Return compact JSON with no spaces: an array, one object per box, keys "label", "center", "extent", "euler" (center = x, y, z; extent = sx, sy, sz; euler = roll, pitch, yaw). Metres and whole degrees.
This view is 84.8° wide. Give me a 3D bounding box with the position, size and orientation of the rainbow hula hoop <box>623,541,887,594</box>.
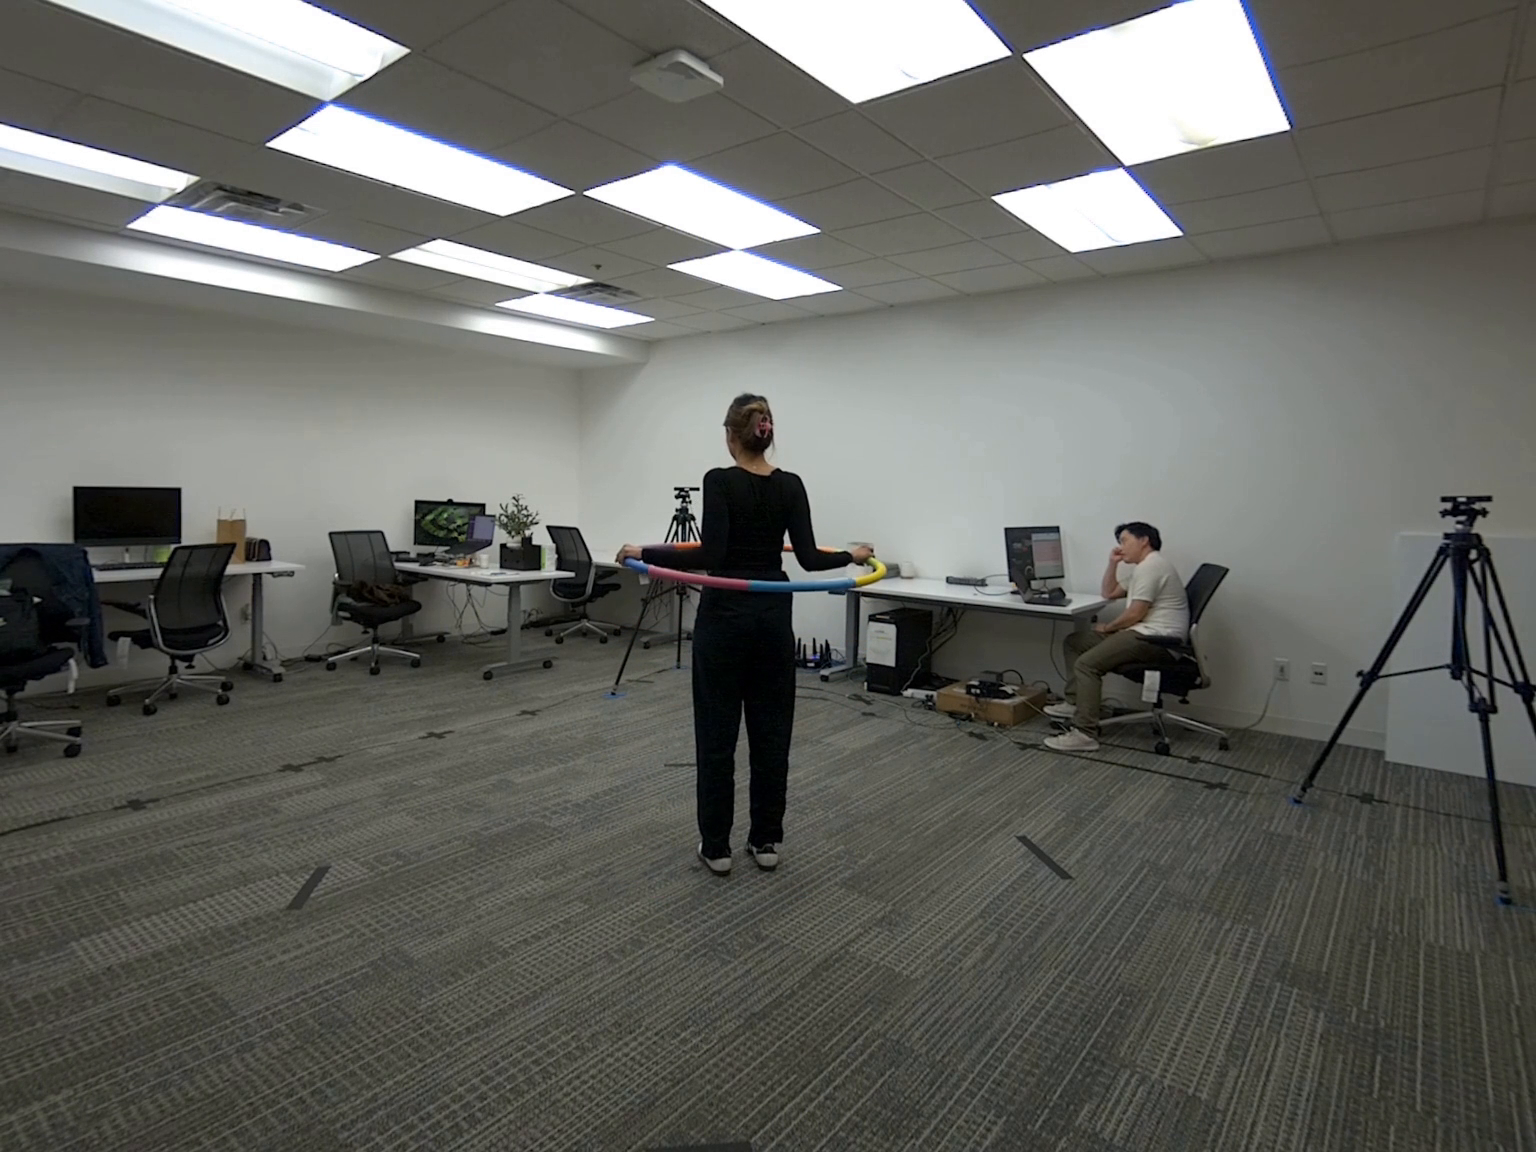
[{"label":"rainbow hula hoop","center":[-0.061,-0.061,3.142],"extent":[0.978,0.035,0.987],"euler":[2,9,-2]}]
